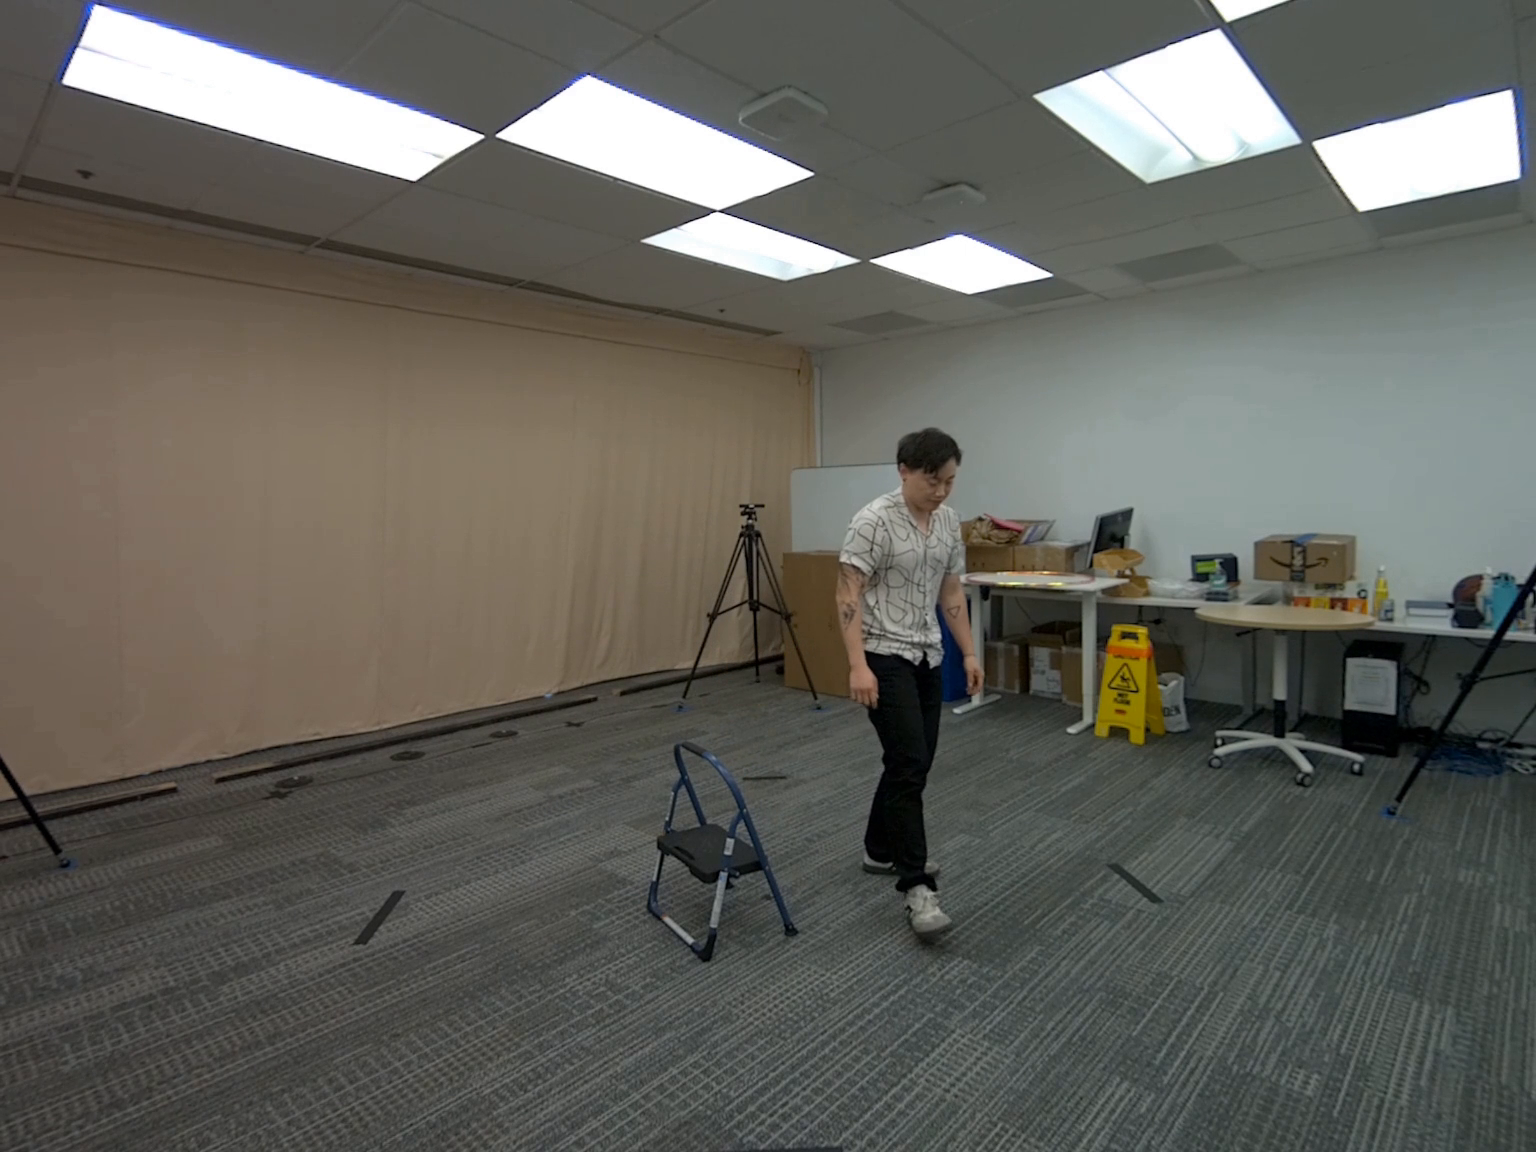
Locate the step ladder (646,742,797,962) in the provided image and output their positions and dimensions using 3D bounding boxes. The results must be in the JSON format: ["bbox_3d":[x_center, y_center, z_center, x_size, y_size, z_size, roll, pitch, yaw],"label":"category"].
[{"bbox_3d":[-0.169,0.854,2.808,0.339,0.604,0.444,-4,5,-34],"label":"step ladder"}]
